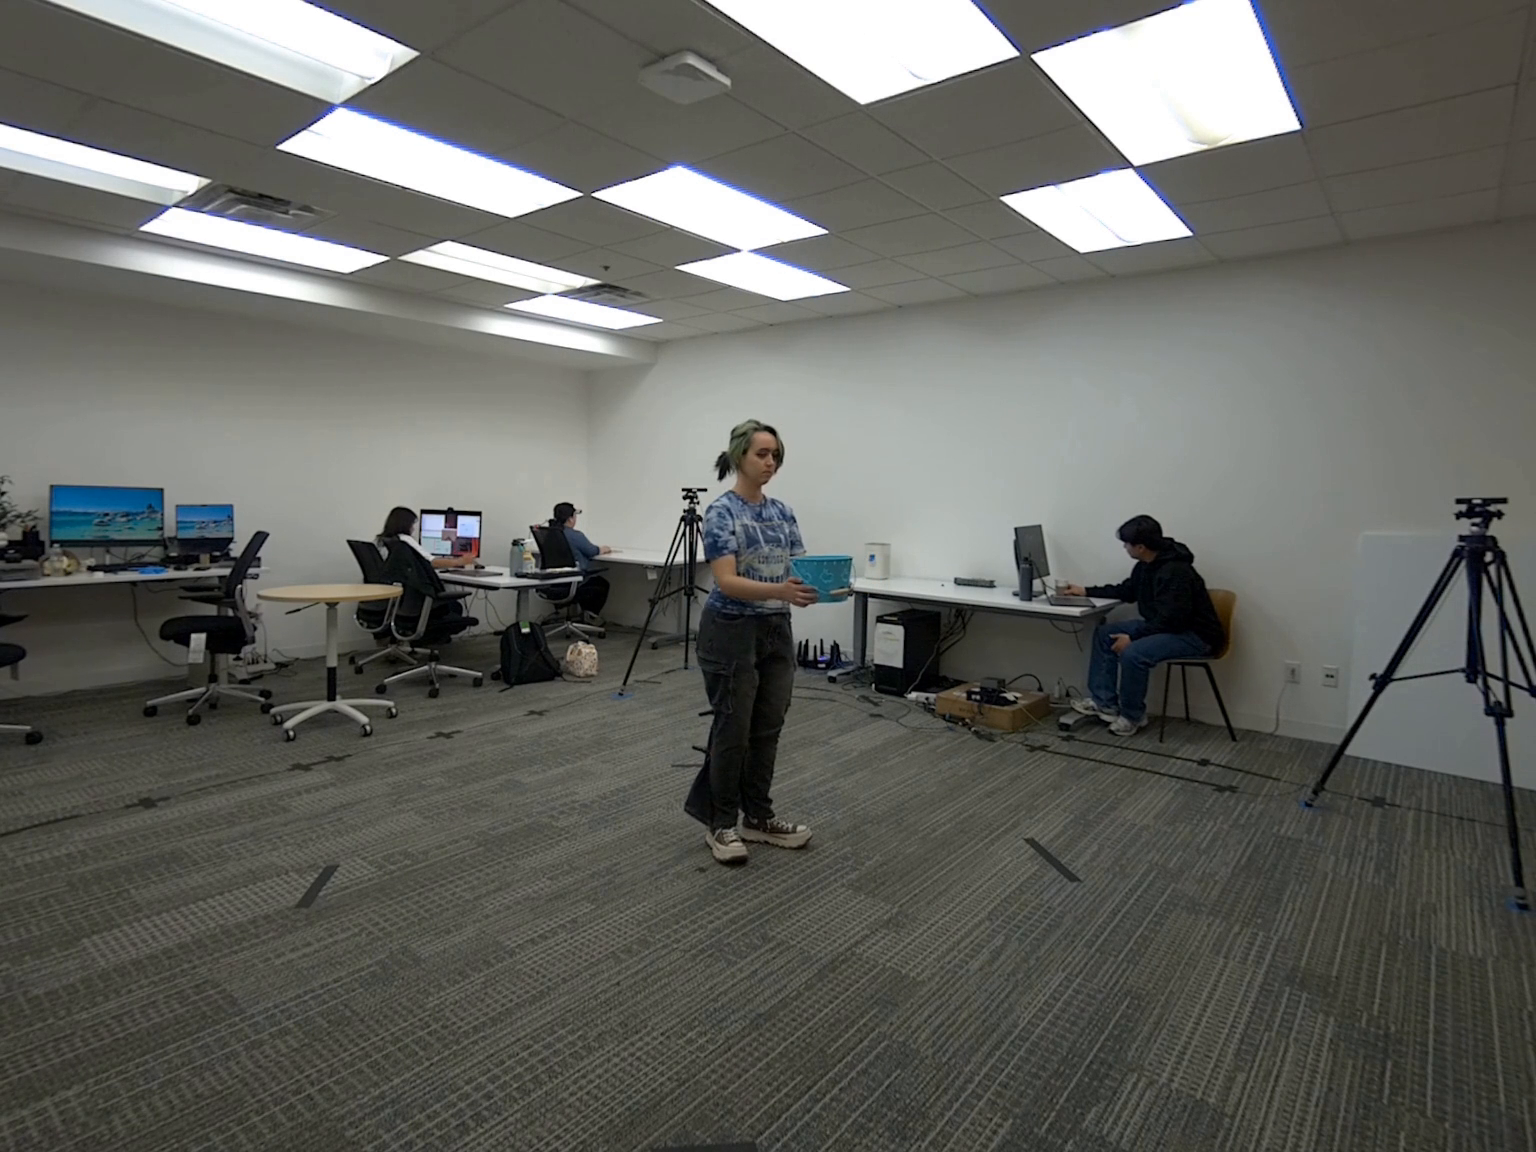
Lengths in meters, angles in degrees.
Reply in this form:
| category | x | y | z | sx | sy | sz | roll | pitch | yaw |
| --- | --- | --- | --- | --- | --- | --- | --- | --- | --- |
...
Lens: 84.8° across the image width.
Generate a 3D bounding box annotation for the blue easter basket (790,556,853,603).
| category | x | y | z | sx | sy | sz | roll | pitch | yaw |
| --- | --- | --- | --- | --- | --- | --- | --- | --- | --- |
| blue easter basket | 0.182 | 0.008 | 2.997 | 0.243 | 0.155 | 0.244 | -1 | 3 | -2 |
